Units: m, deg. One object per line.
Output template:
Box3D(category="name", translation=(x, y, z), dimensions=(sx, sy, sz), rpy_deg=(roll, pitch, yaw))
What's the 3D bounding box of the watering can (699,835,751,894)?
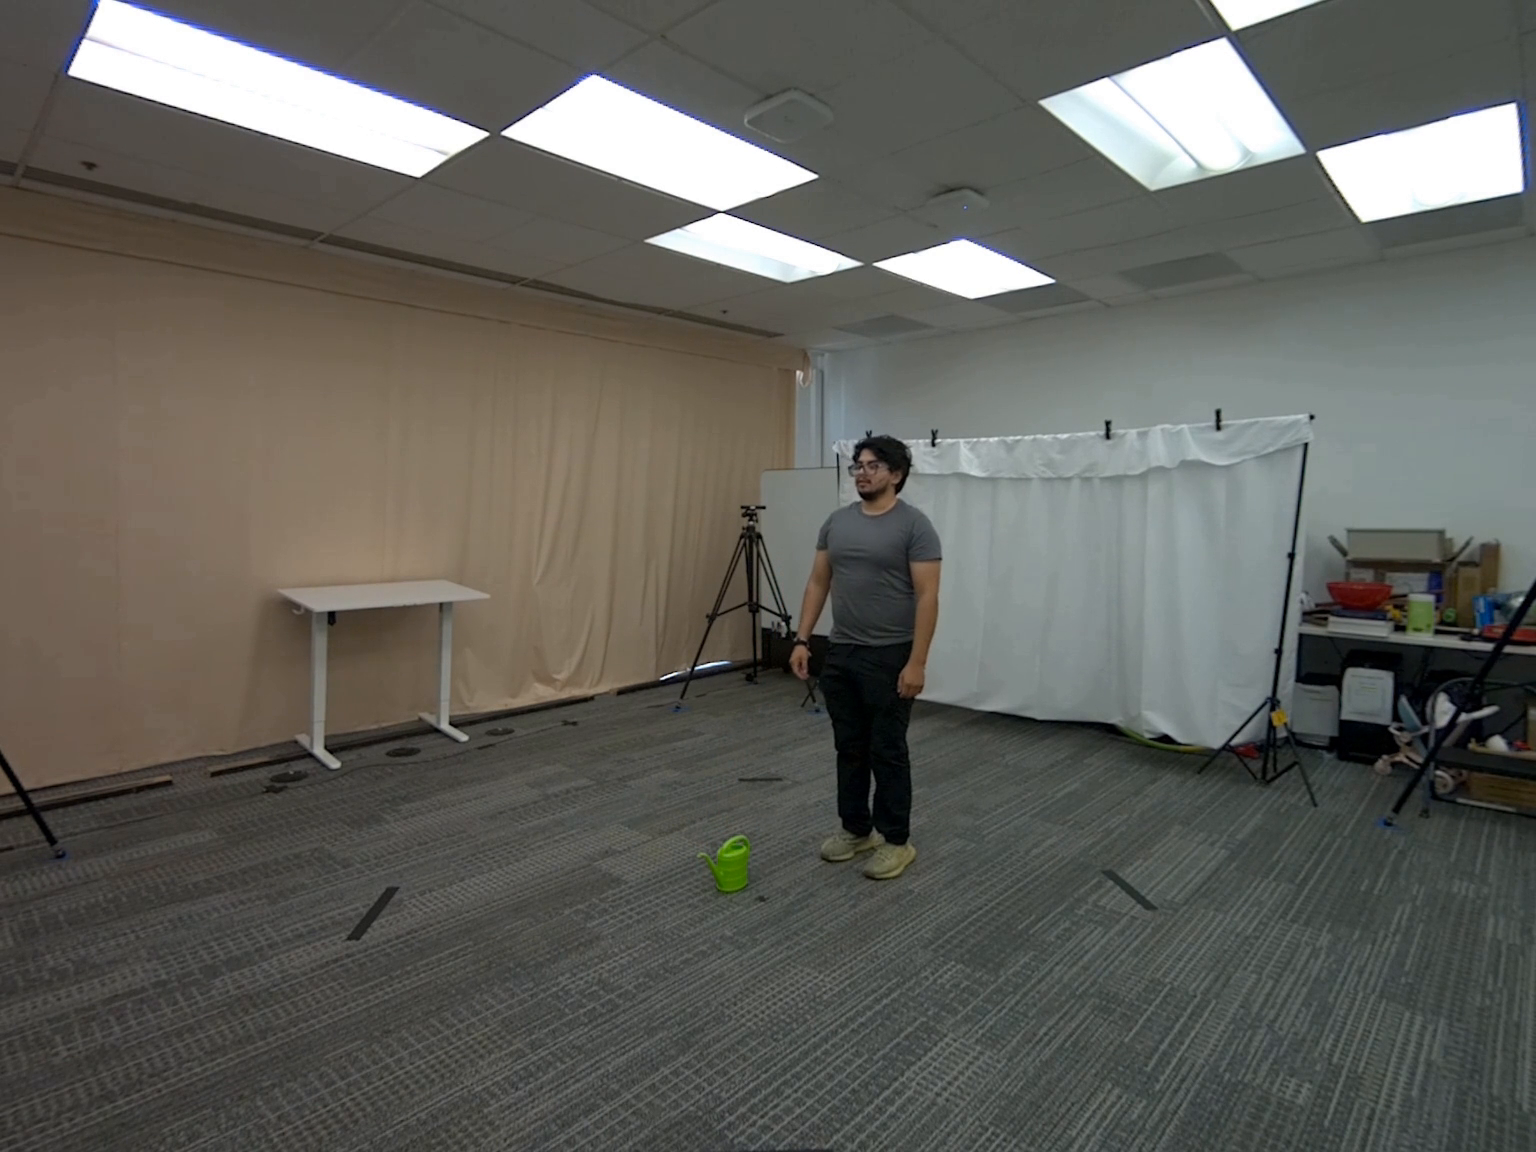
Box3D(category="watering can", translation=(-0.164, 1.046, 3.052), dimensions=(0.270, 0.177, 0.101), rpy_deg=(-1, 2, -37))
